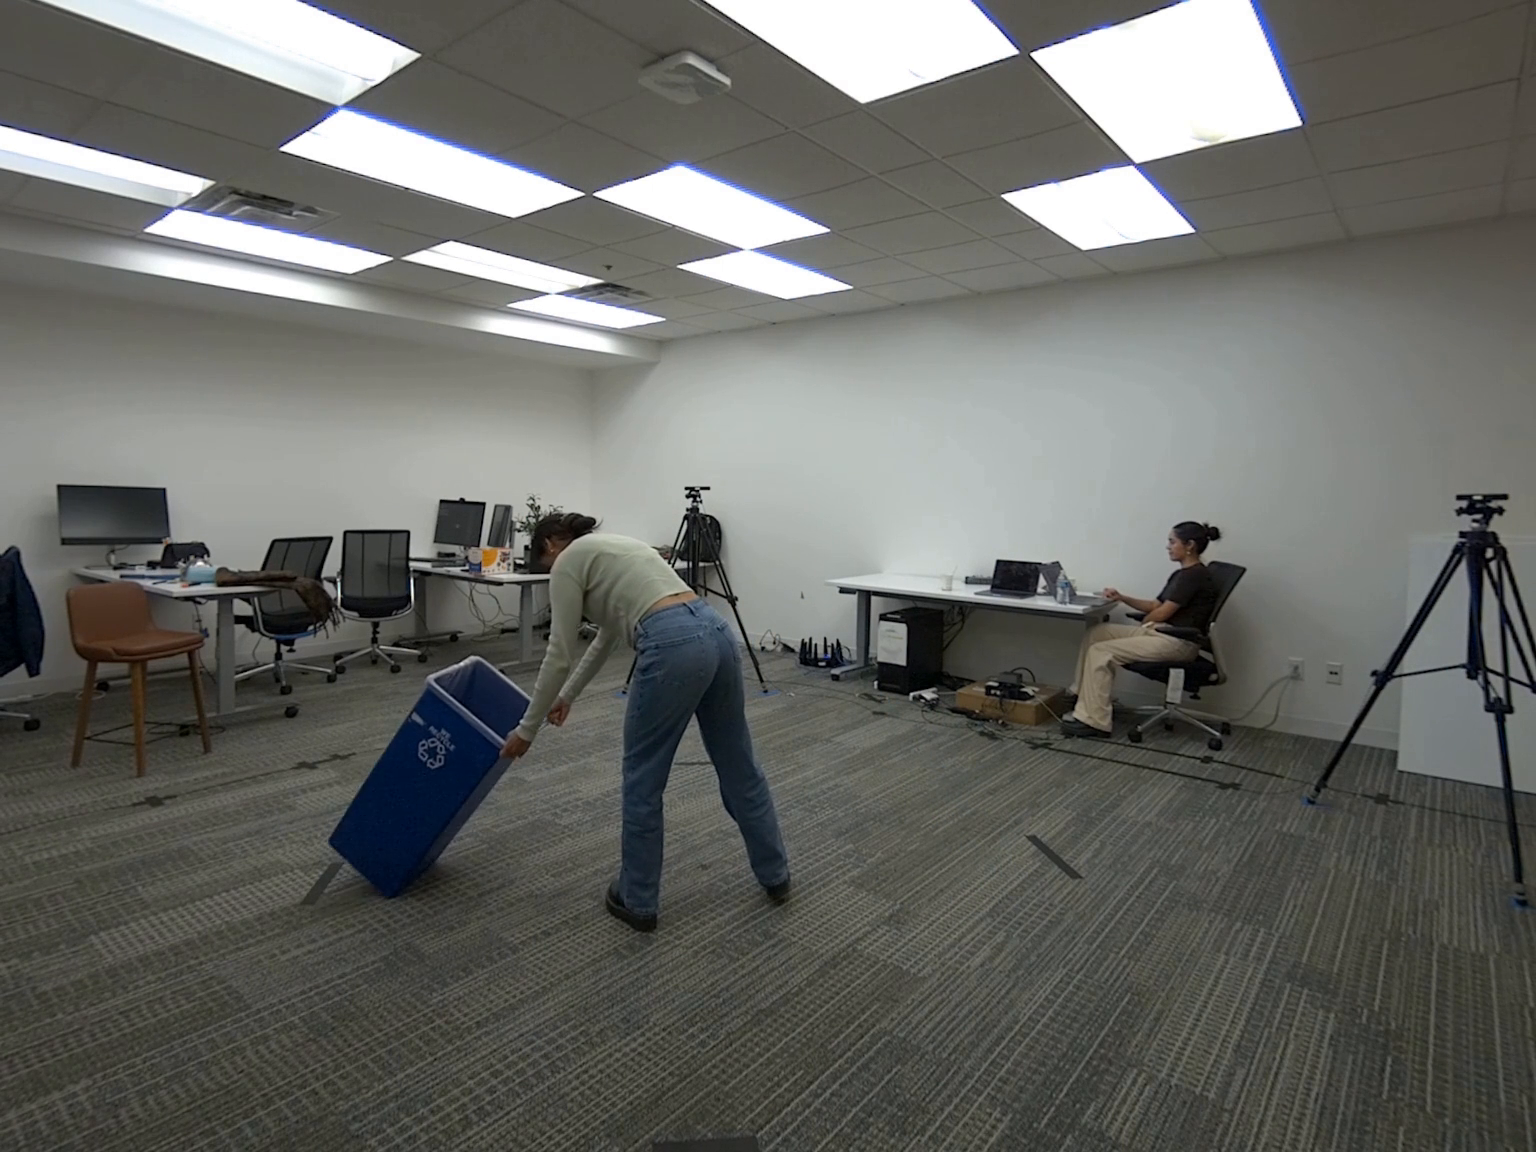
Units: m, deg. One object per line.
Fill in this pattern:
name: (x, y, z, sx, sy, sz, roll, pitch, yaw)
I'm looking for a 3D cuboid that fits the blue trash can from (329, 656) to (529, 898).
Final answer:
blue trash can: (-1.139, 0.699, 2.952, 0.377, 0.712, 0.376, 37, 9, 3)
